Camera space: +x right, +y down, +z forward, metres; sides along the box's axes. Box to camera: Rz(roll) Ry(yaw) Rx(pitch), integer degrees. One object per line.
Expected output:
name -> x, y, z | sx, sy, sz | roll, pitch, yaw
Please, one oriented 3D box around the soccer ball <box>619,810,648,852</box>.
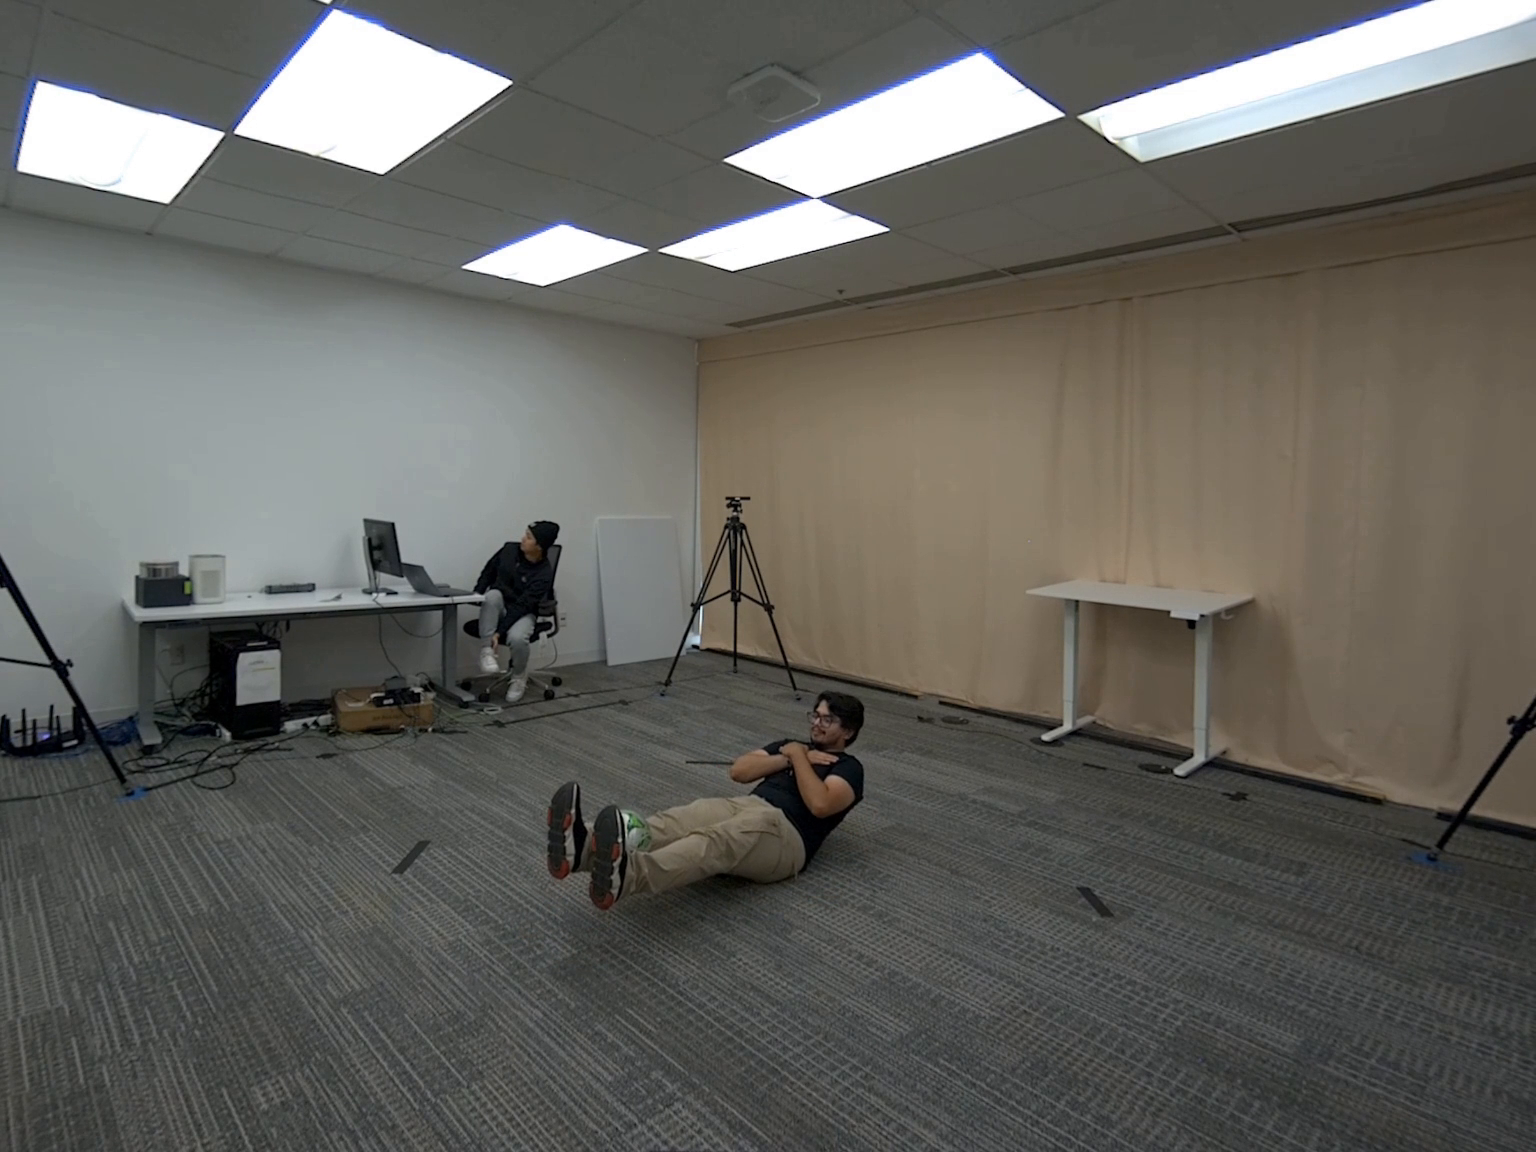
soccer ball -> -0.475, 0.859, 2.695 | 0.187, 0.187, 0.188 | 1, 5, -1
